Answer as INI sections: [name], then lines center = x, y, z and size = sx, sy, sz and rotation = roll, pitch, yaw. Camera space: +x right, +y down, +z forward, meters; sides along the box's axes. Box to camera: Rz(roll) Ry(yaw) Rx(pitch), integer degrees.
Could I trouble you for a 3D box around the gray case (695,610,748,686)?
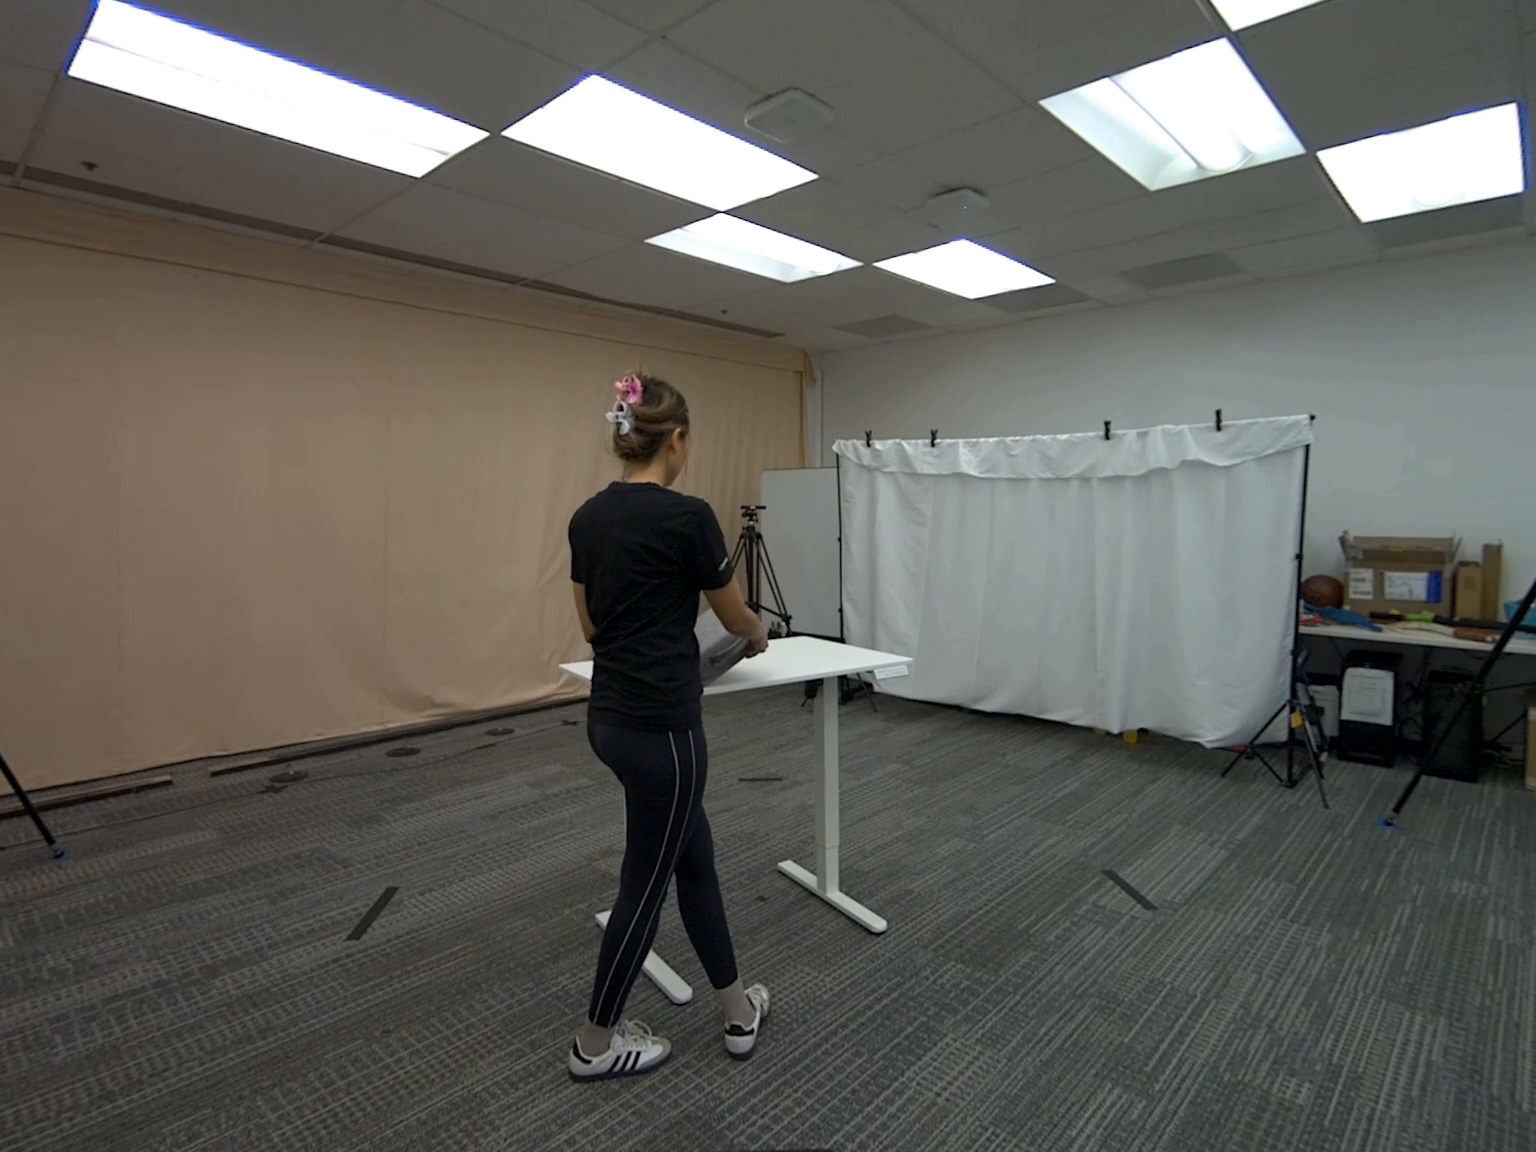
[gray case]
center = -0.167, 0.203, 2.489
size = 0.254, 0.102, 0.268
rotation = -35, 20, -18
